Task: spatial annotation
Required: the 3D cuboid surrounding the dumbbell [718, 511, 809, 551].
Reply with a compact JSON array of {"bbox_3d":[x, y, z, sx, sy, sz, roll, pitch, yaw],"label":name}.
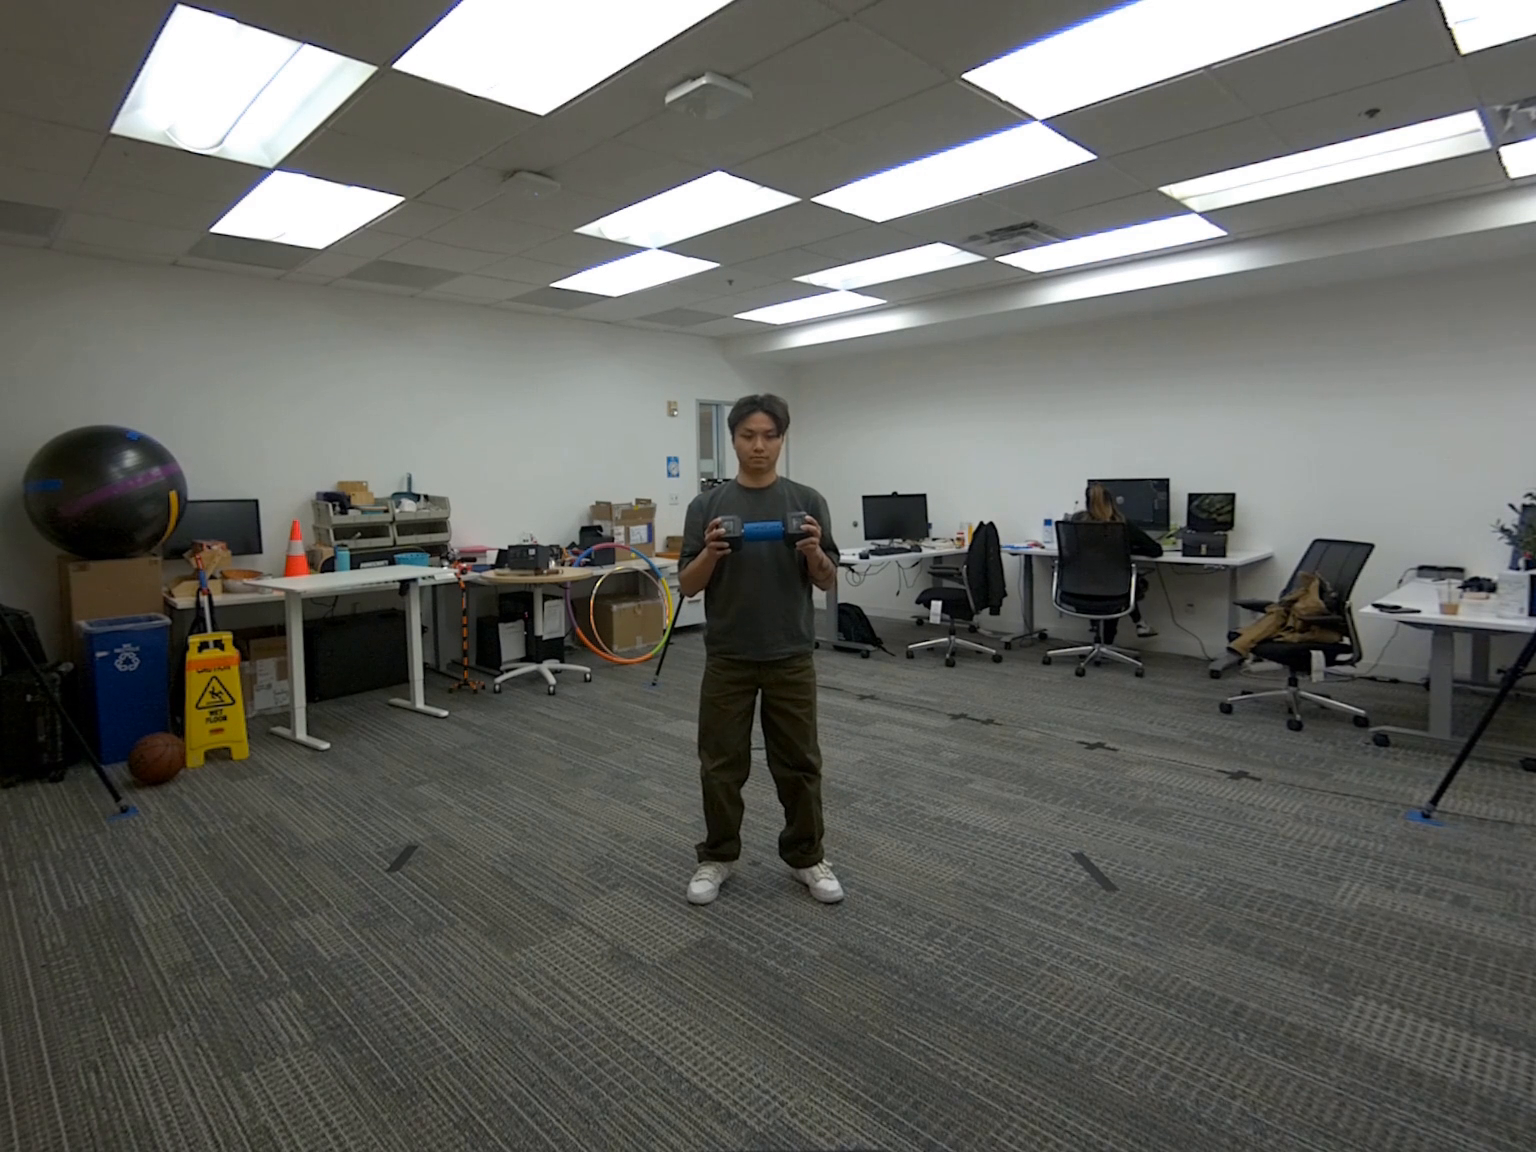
[{"bbox_3d":[-0.028,-0.130,2.681,0.295,0.119,0.112,-6,40,4],"label":"dumbbell"}]
